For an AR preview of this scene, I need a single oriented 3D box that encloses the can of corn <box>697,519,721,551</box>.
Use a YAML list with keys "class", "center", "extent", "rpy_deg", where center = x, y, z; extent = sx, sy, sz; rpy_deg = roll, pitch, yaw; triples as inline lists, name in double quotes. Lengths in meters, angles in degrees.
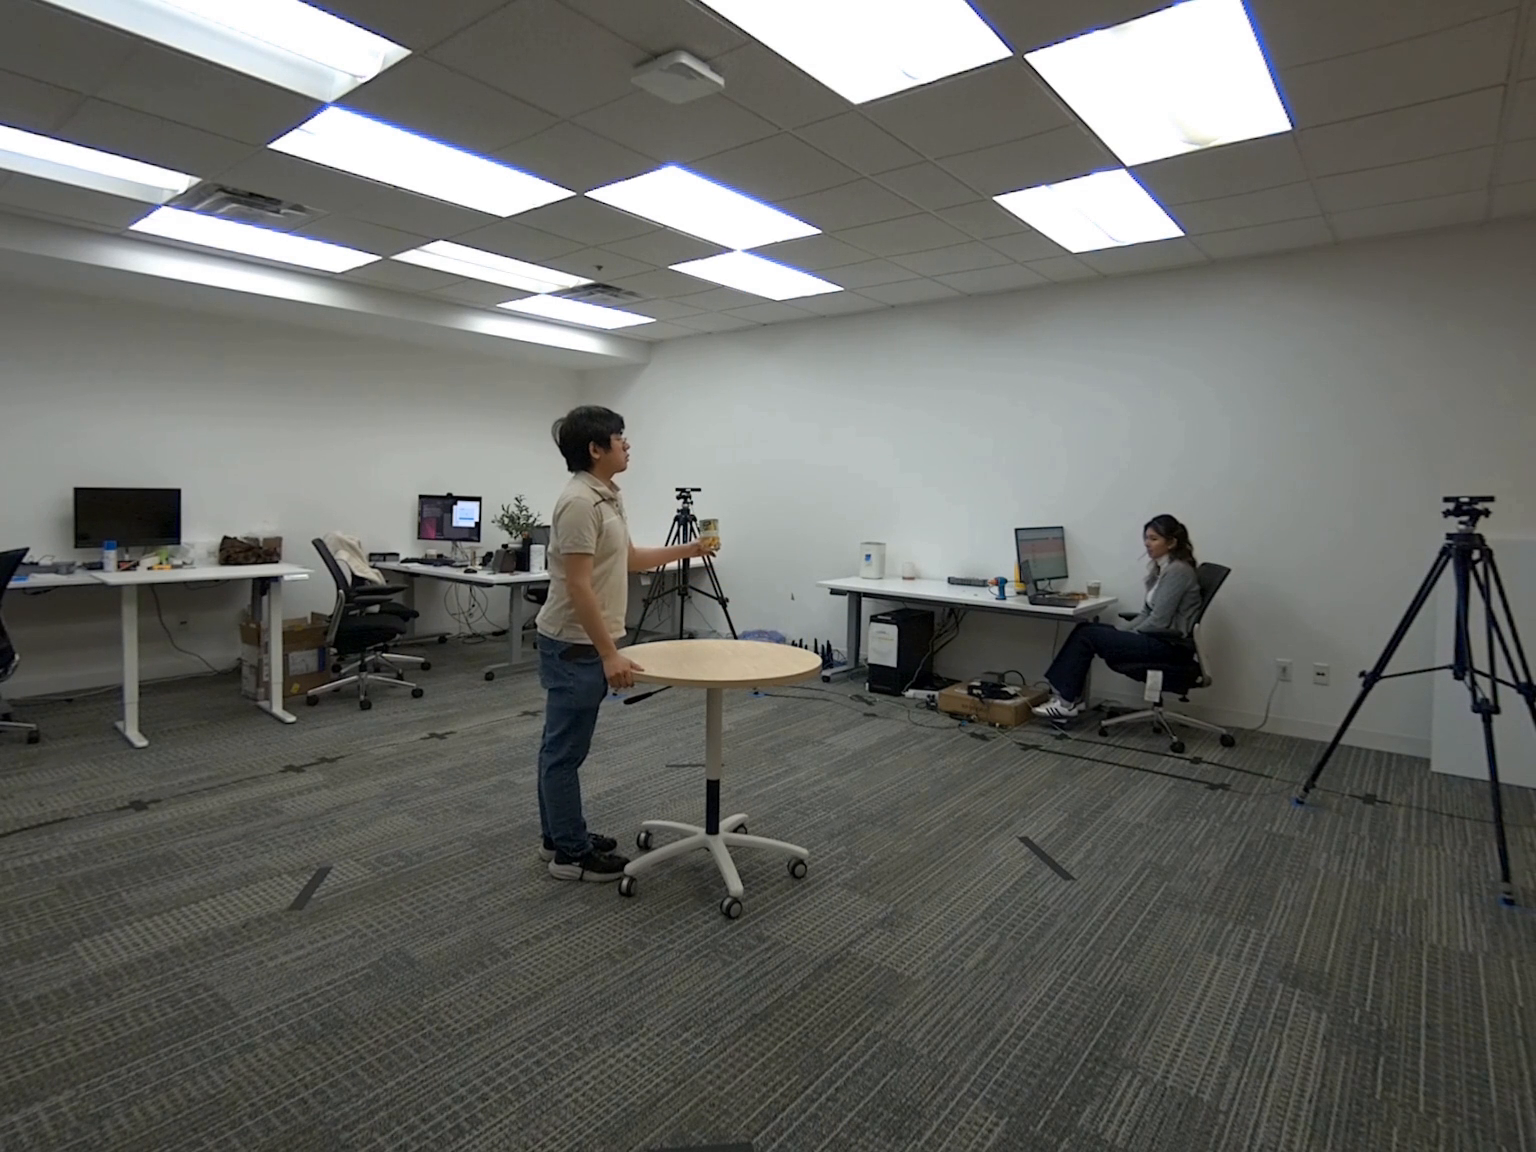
- class: "can of corn"
  center: [-0.228, -0.156, 3.238]
  extent: [0.074, 0.112, 0.074]
  rpy_deg: [-3, -7, -2]
